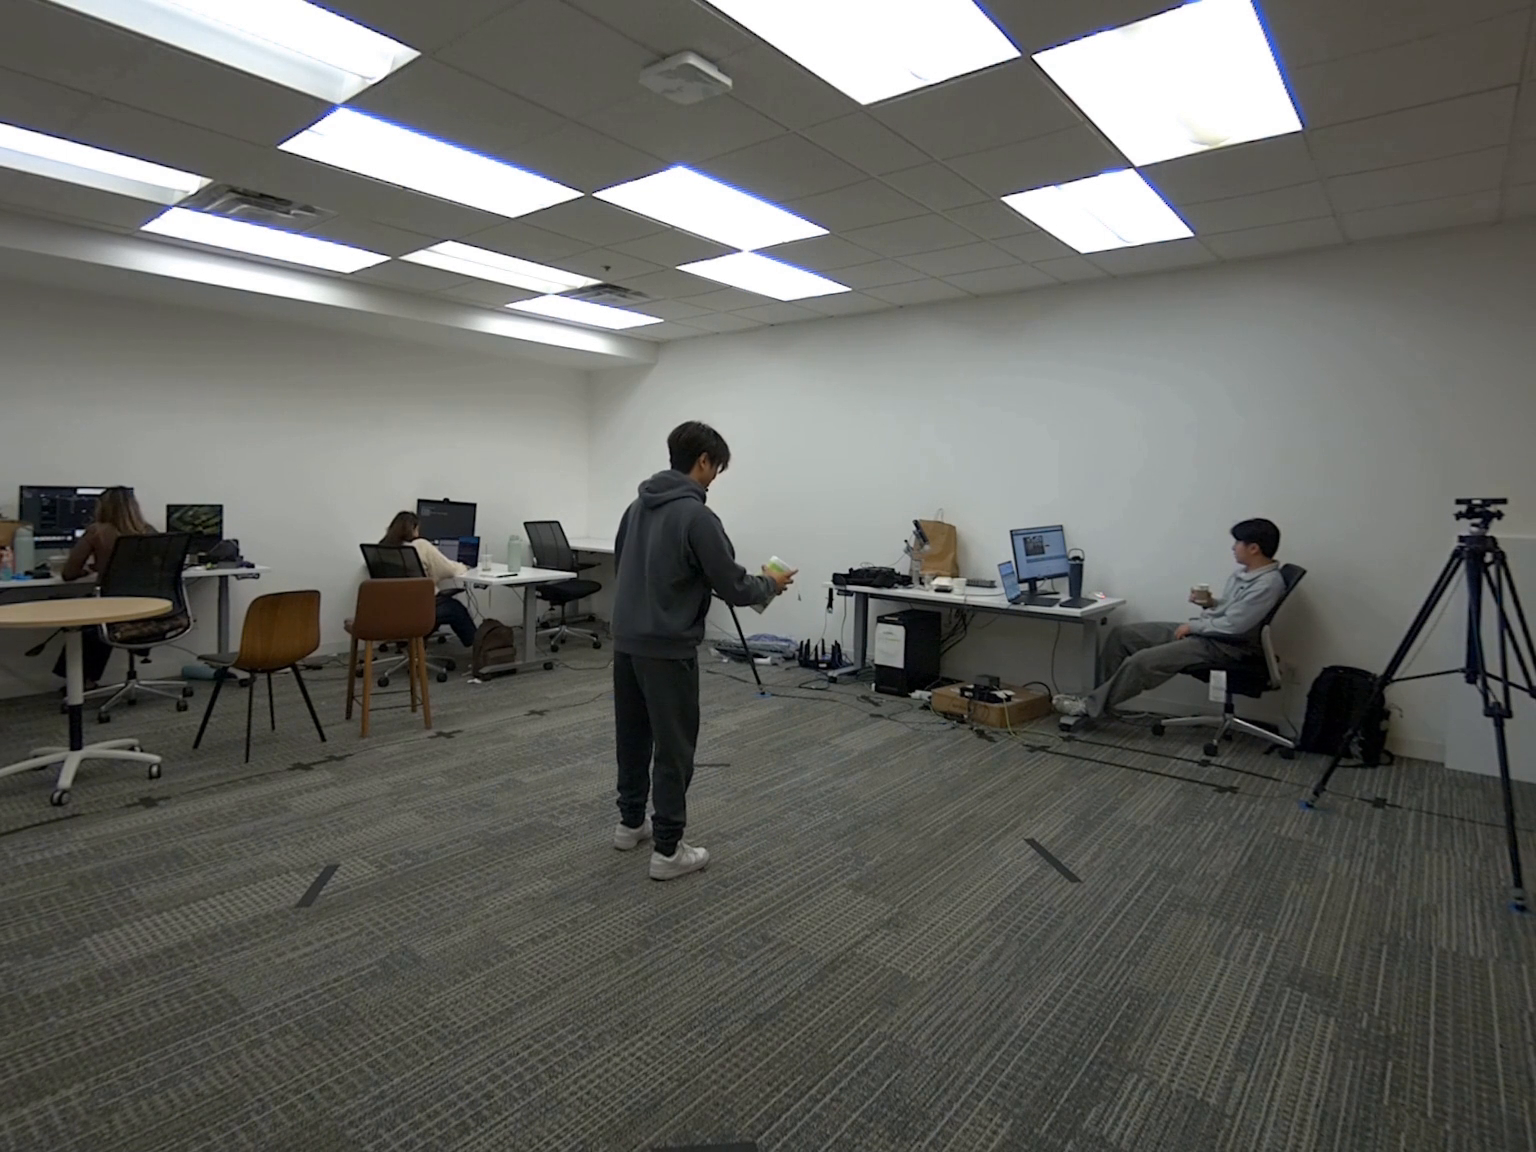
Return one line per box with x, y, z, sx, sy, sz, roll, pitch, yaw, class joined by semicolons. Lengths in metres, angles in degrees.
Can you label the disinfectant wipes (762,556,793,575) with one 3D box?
-0.016;0.041;3.336;0.118;0.217;0.117;38;-3;0;disinfectant wipes
